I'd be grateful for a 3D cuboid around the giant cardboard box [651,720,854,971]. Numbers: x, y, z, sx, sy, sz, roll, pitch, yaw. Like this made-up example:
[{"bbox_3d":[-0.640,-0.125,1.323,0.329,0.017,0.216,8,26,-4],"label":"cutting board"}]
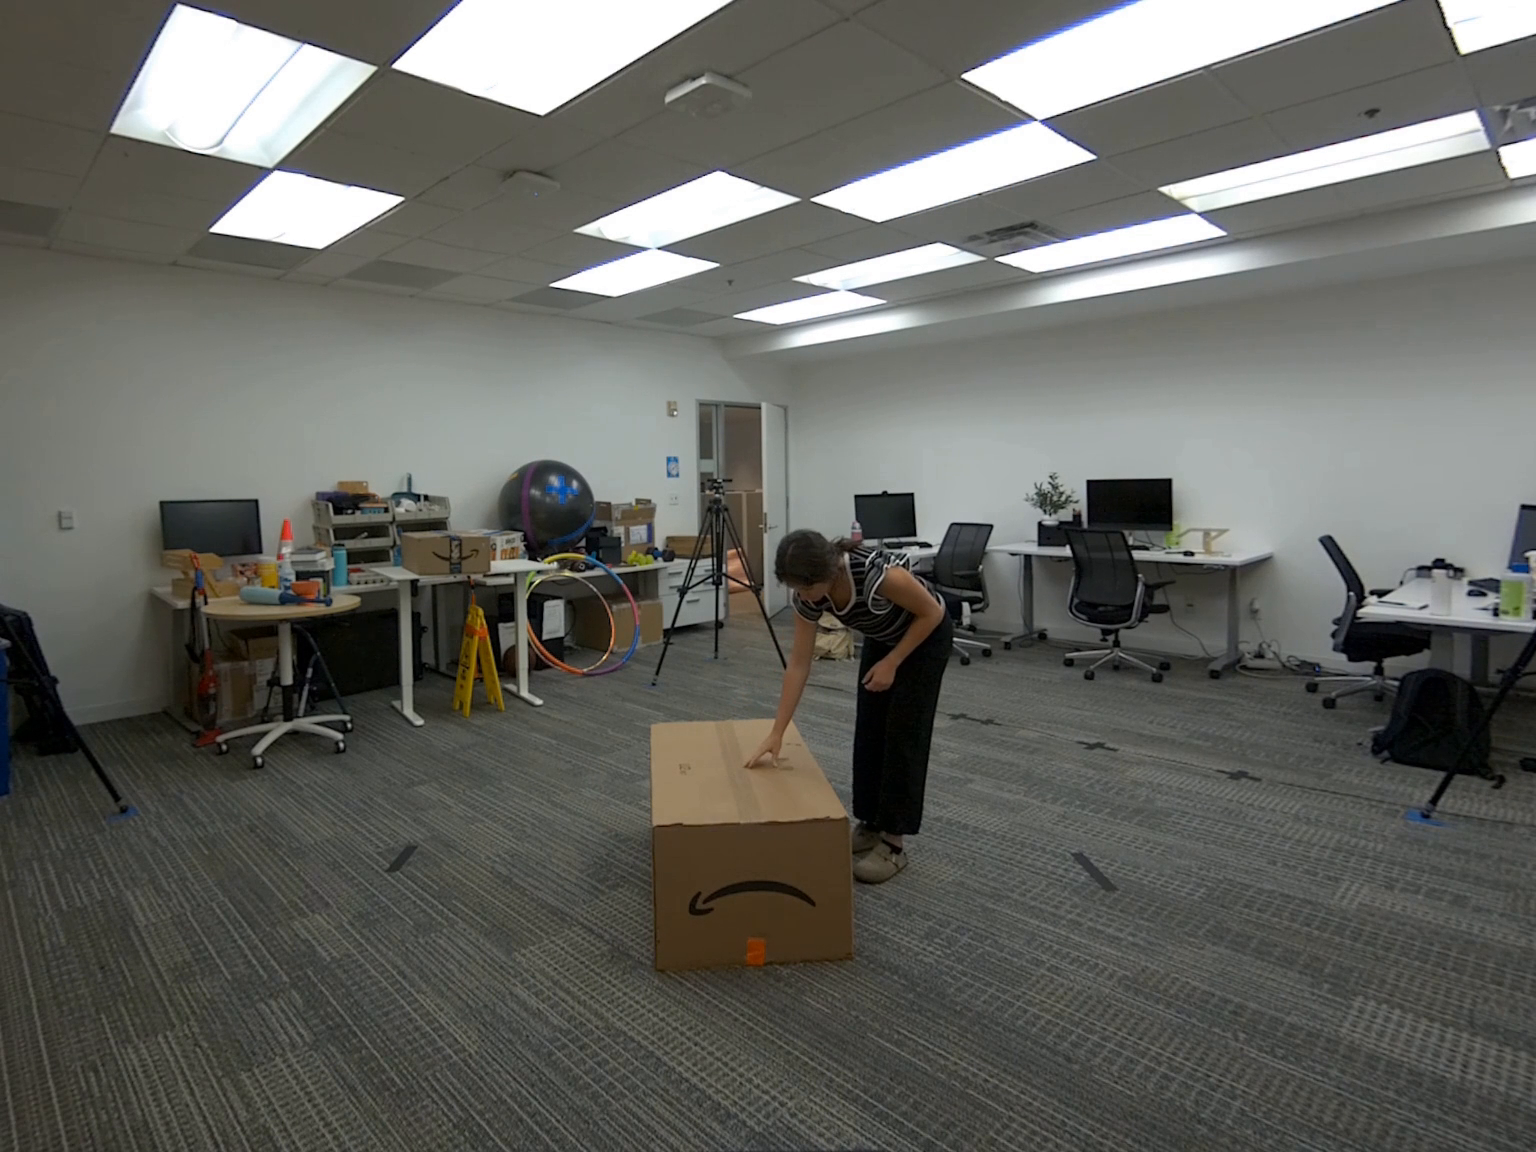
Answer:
[{"bbox_3d":[-0.113,0.854,2.946,0.574,0.424,1.037,-1,6,-7],"label":"giant cardboard box"}]
